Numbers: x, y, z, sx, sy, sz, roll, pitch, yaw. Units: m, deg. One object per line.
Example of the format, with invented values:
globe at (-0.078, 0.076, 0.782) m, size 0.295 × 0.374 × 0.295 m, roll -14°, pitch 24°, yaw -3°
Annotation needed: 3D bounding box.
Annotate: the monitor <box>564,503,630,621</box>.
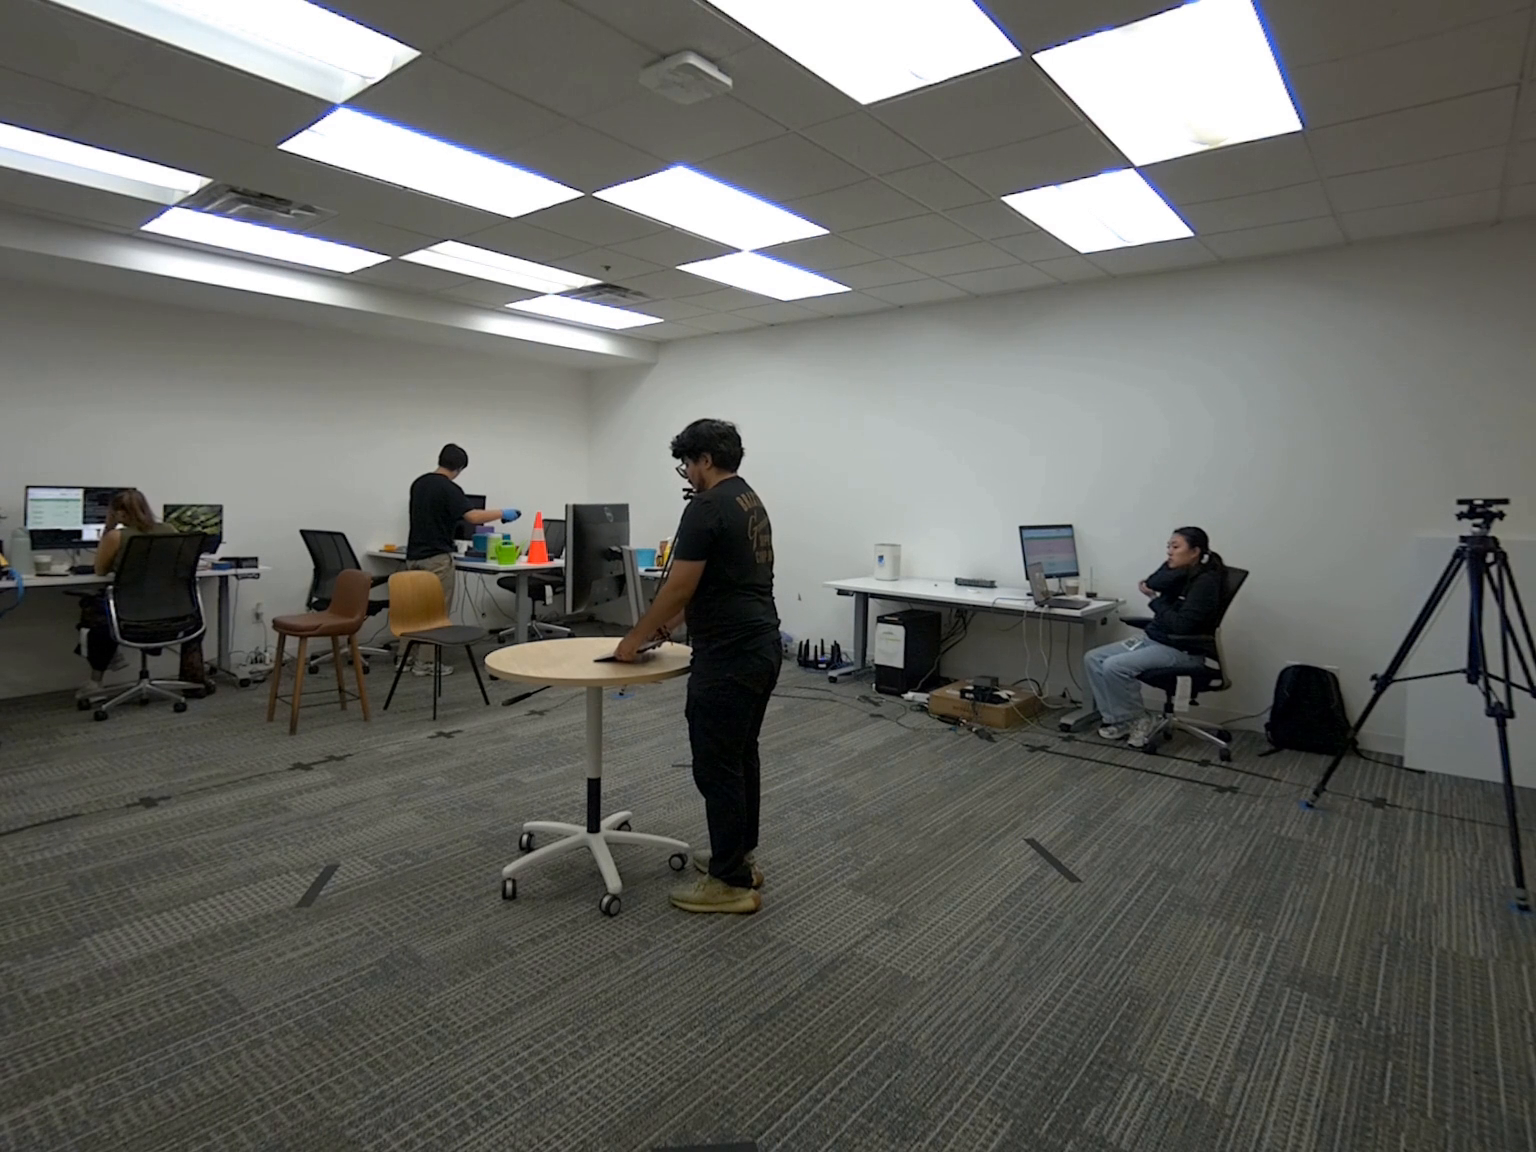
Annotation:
monitor at (-0.536, 0.003, 3.033) m, size 0.213 × 0.553 × 0.559 m, roll -6°, pitch 2°, yaw 11°
